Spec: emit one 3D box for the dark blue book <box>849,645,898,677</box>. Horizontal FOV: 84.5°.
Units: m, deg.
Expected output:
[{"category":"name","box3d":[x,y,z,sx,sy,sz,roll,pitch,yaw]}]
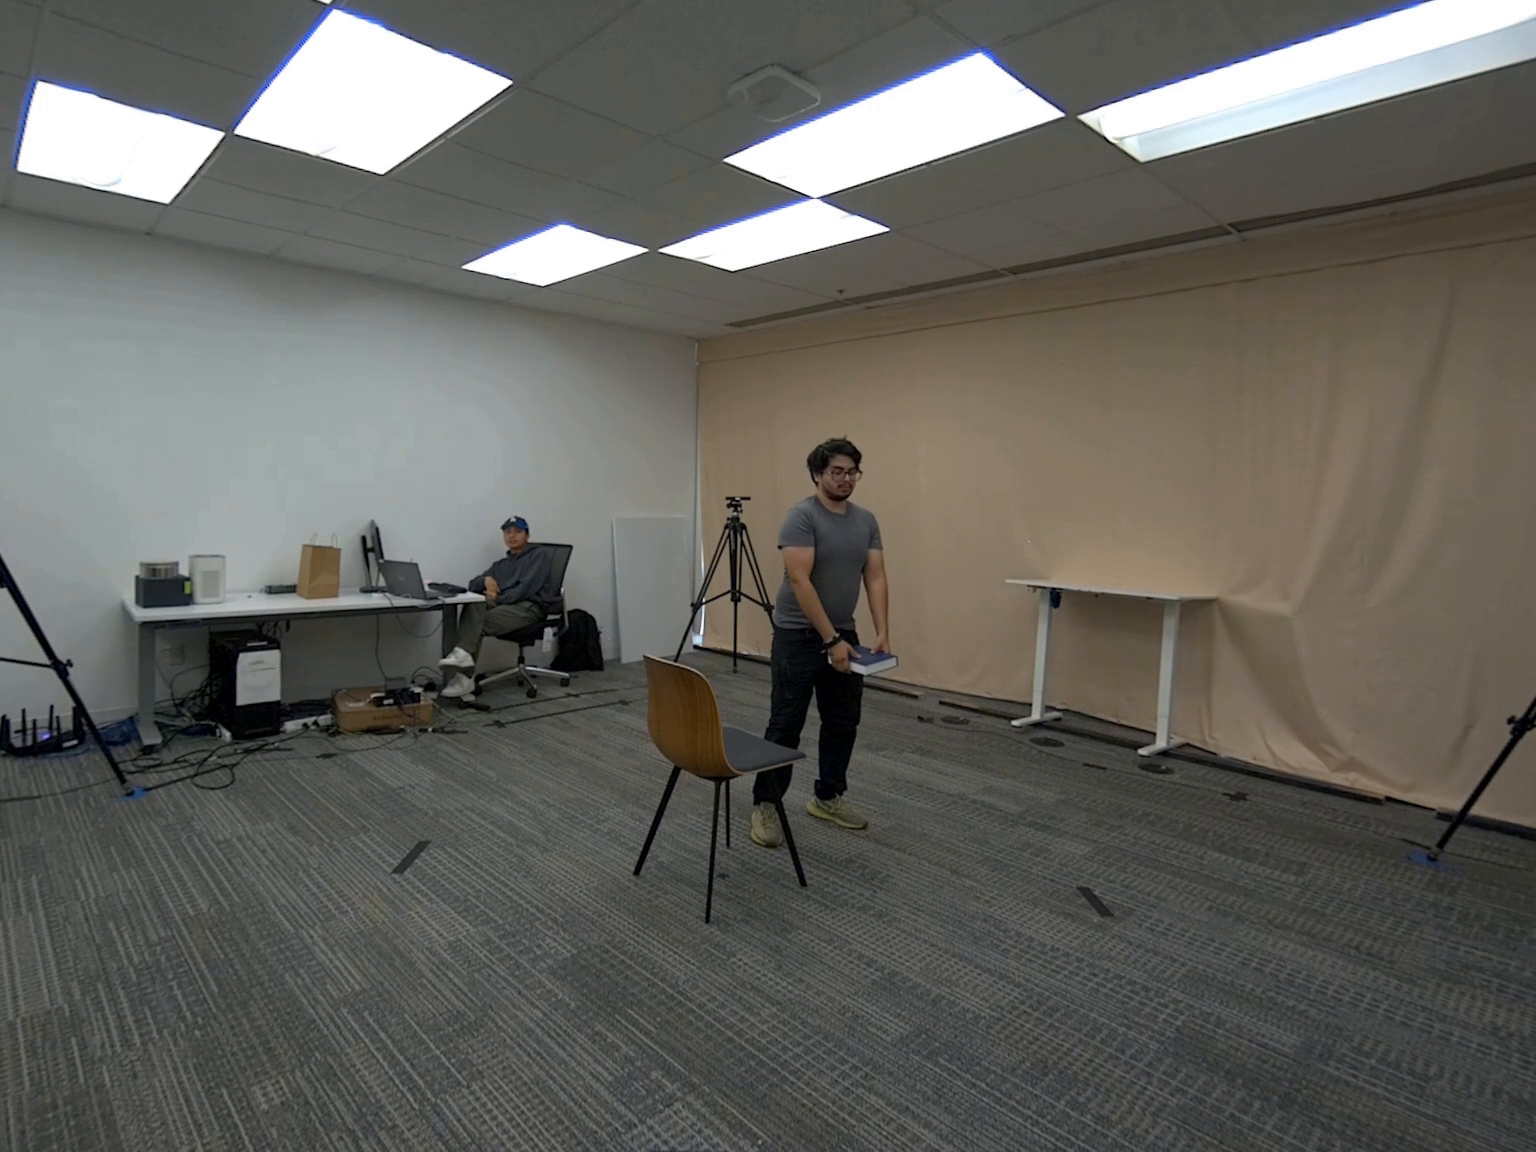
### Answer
[{"category":"dark blue book","box3d":[0.354,0.334,3.336,0.161,0.045,0.251,-12,12,-30]}]
